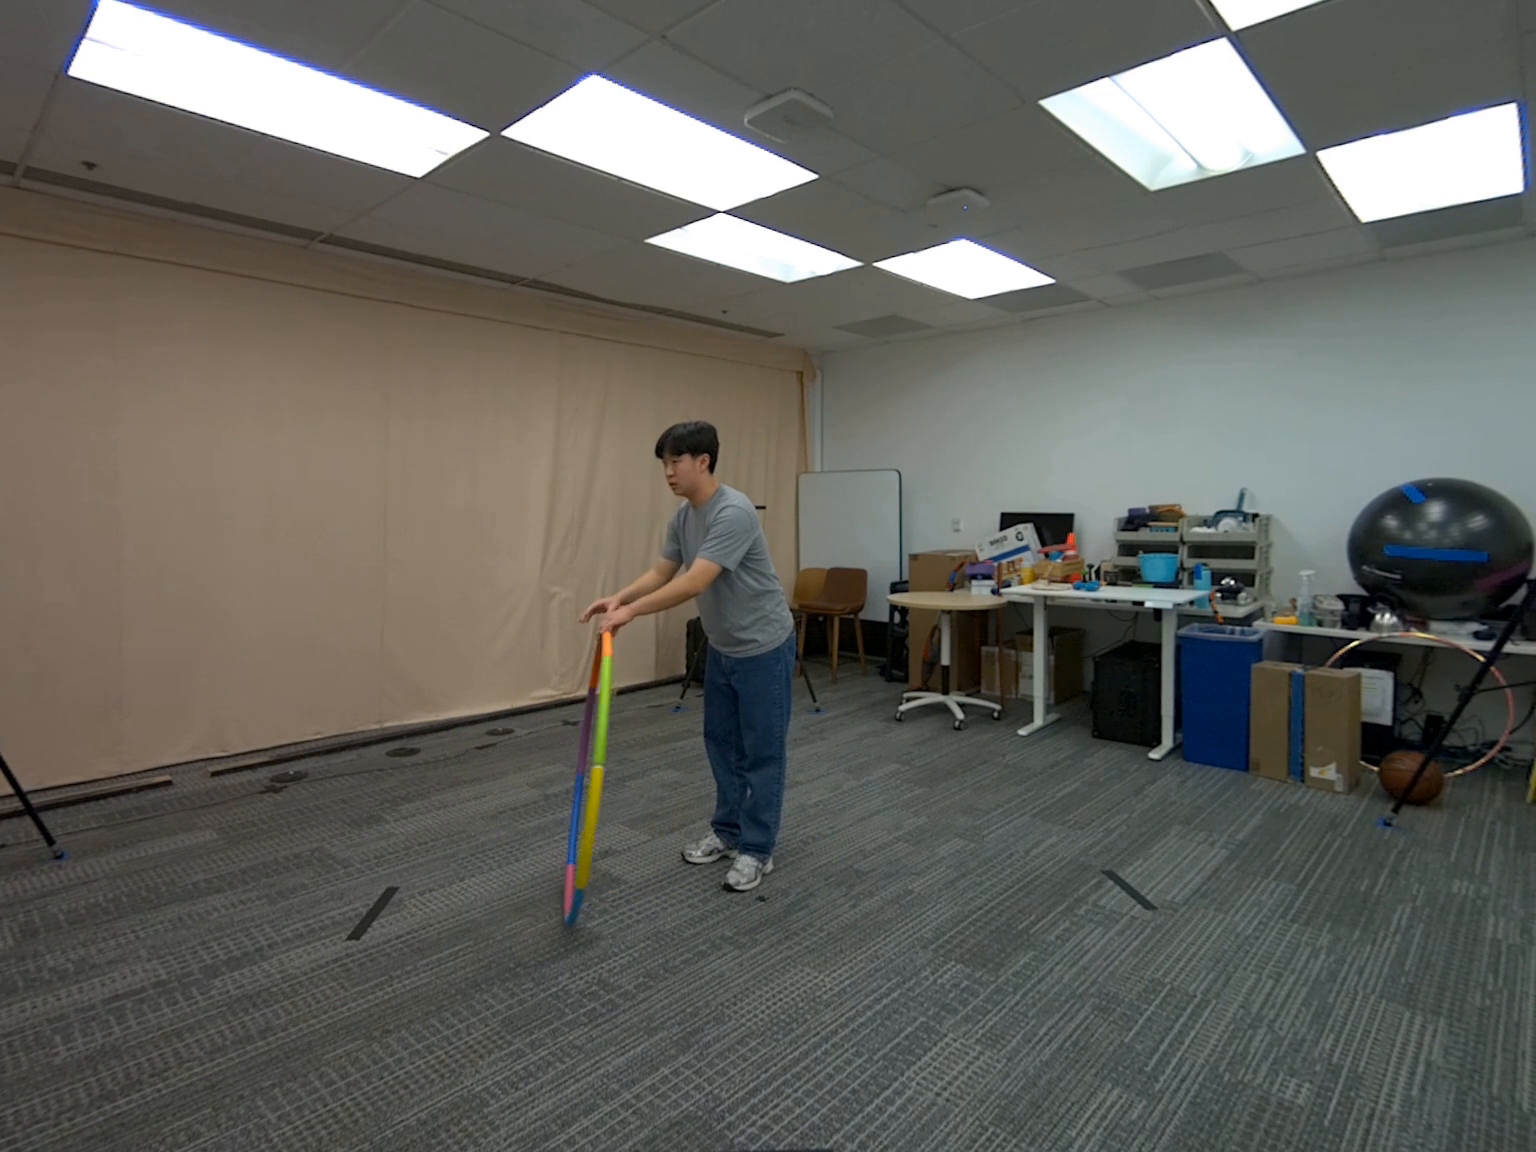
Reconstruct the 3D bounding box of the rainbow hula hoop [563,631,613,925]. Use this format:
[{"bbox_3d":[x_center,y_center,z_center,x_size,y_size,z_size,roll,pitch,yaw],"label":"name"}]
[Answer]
[{"bbox_3d":[-0.624,0.673,2.908,0.035,0.978,0.992,10,2,-13],"label":"rainbow hula hoop"}]
